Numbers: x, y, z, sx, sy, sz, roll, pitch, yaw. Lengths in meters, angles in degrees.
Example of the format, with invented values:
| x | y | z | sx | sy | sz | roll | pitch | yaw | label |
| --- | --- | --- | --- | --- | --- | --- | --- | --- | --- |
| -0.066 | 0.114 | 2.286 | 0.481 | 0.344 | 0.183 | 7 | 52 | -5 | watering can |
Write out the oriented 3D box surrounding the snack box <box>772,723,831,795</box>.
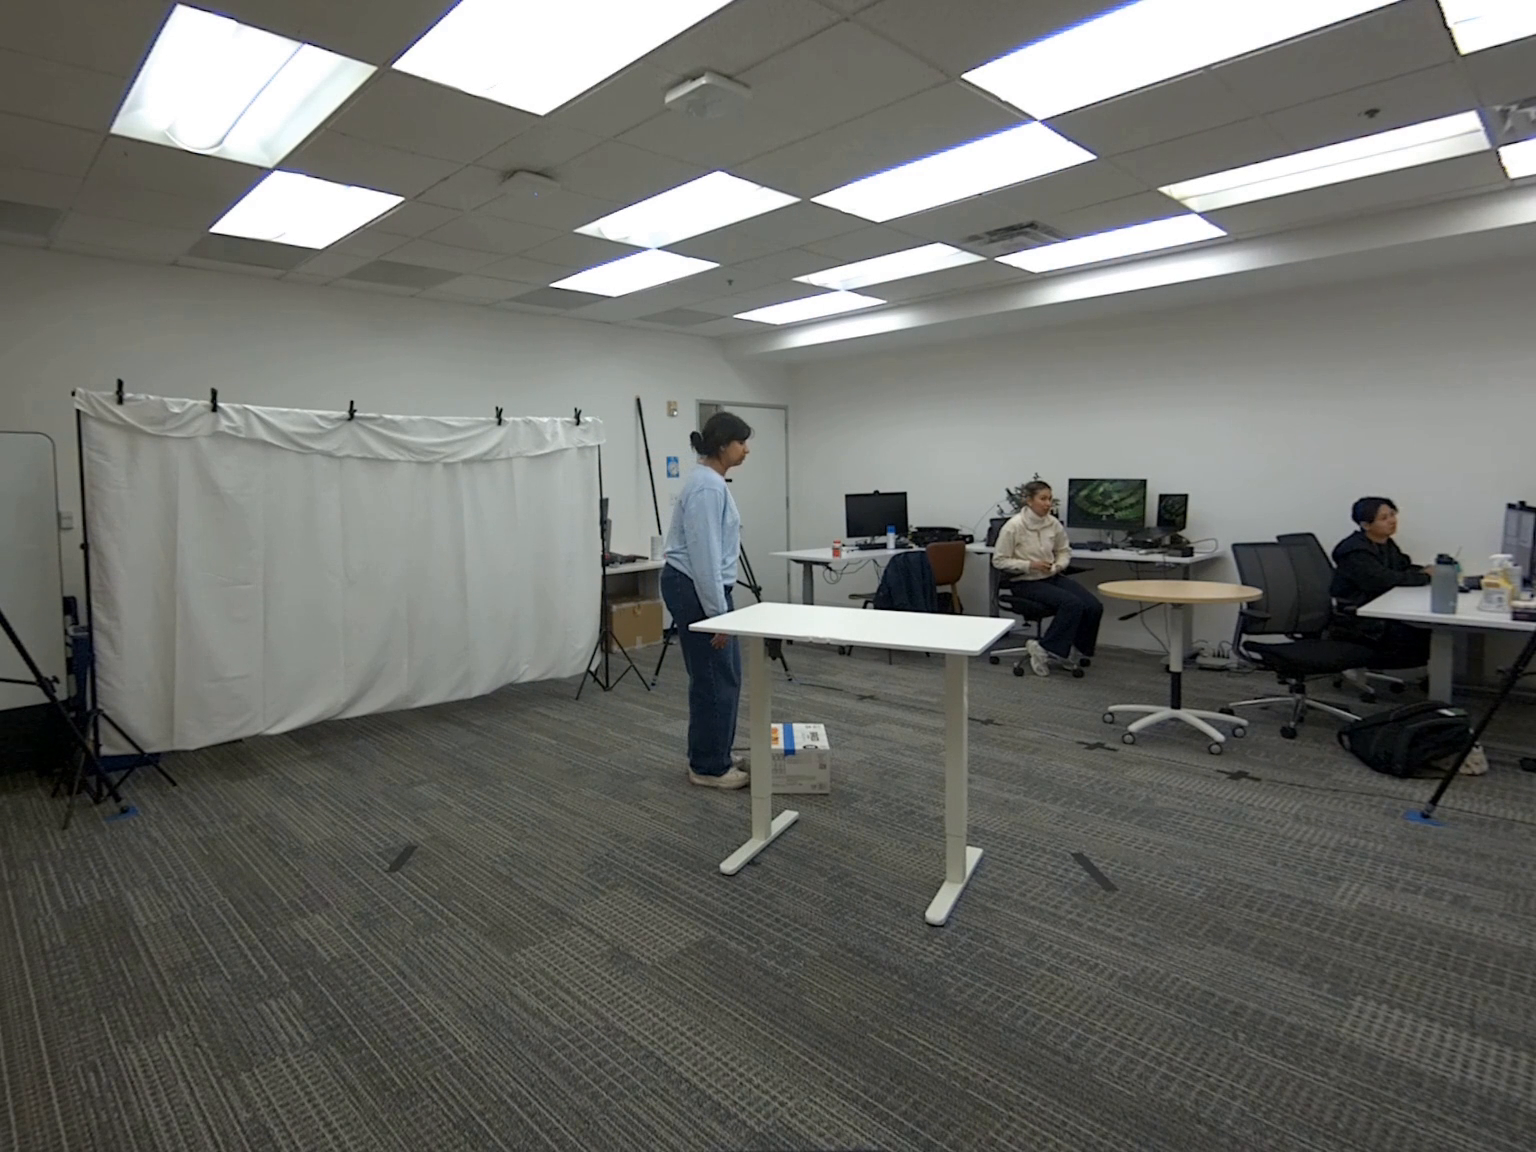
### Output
| x | y | z | sx | sy | sz | roll | pitch | yaw | label |
| --- | --- | --- | --- | --- | --- | --- | --- | --- | --- |
| 0.098 | 0.838 | 3.965 | 0.341 | 0.205 | 0.406 | -1 | 5 | 1 | snack box |
